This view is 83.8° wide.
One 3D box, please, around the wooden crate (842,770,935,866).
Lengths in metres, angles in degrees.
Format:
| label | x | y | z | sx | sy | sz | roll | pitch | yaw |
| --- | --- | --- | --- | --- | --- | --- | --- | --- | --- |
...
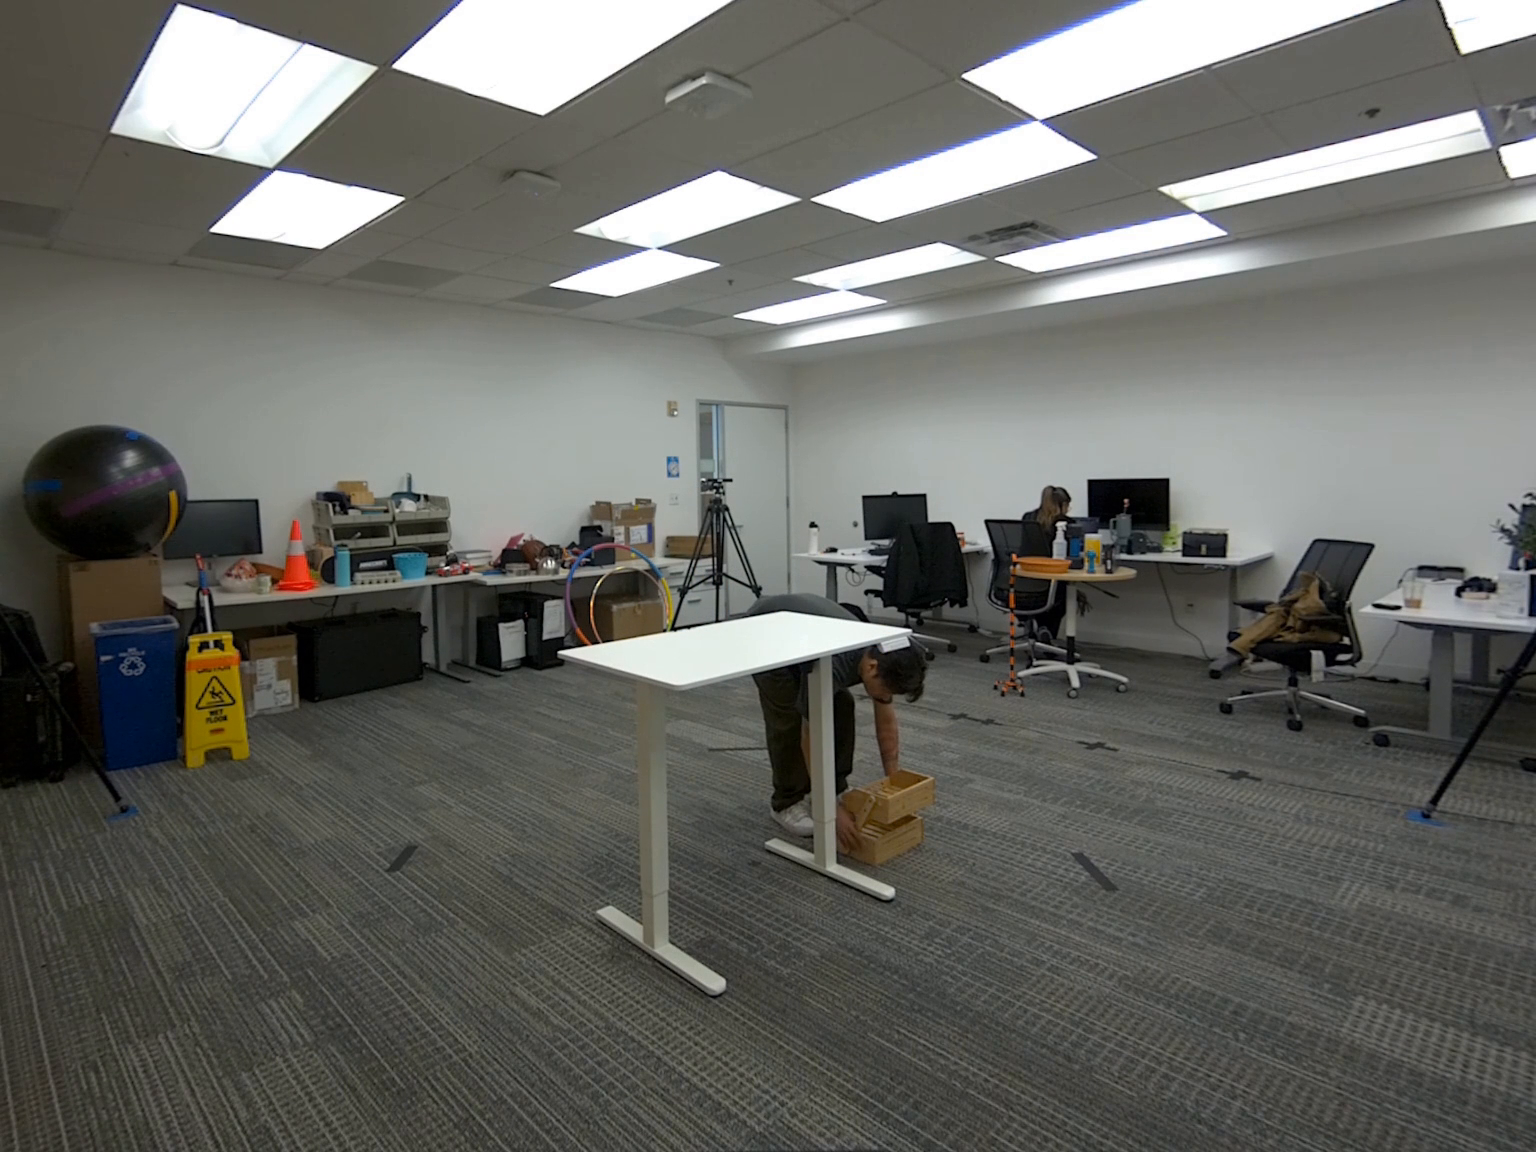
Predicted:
| label | x | y | z | sx | sy | sz | roll | pitch | yaw |
| --- | --- | --- | --- | --- | --- | --- | --- | --- | --- |
| wooden crate | 0.415 | 0.893 | 3.236 | 0.316 | 0.272 | 0.311 | -6 | 7 | -44 |
